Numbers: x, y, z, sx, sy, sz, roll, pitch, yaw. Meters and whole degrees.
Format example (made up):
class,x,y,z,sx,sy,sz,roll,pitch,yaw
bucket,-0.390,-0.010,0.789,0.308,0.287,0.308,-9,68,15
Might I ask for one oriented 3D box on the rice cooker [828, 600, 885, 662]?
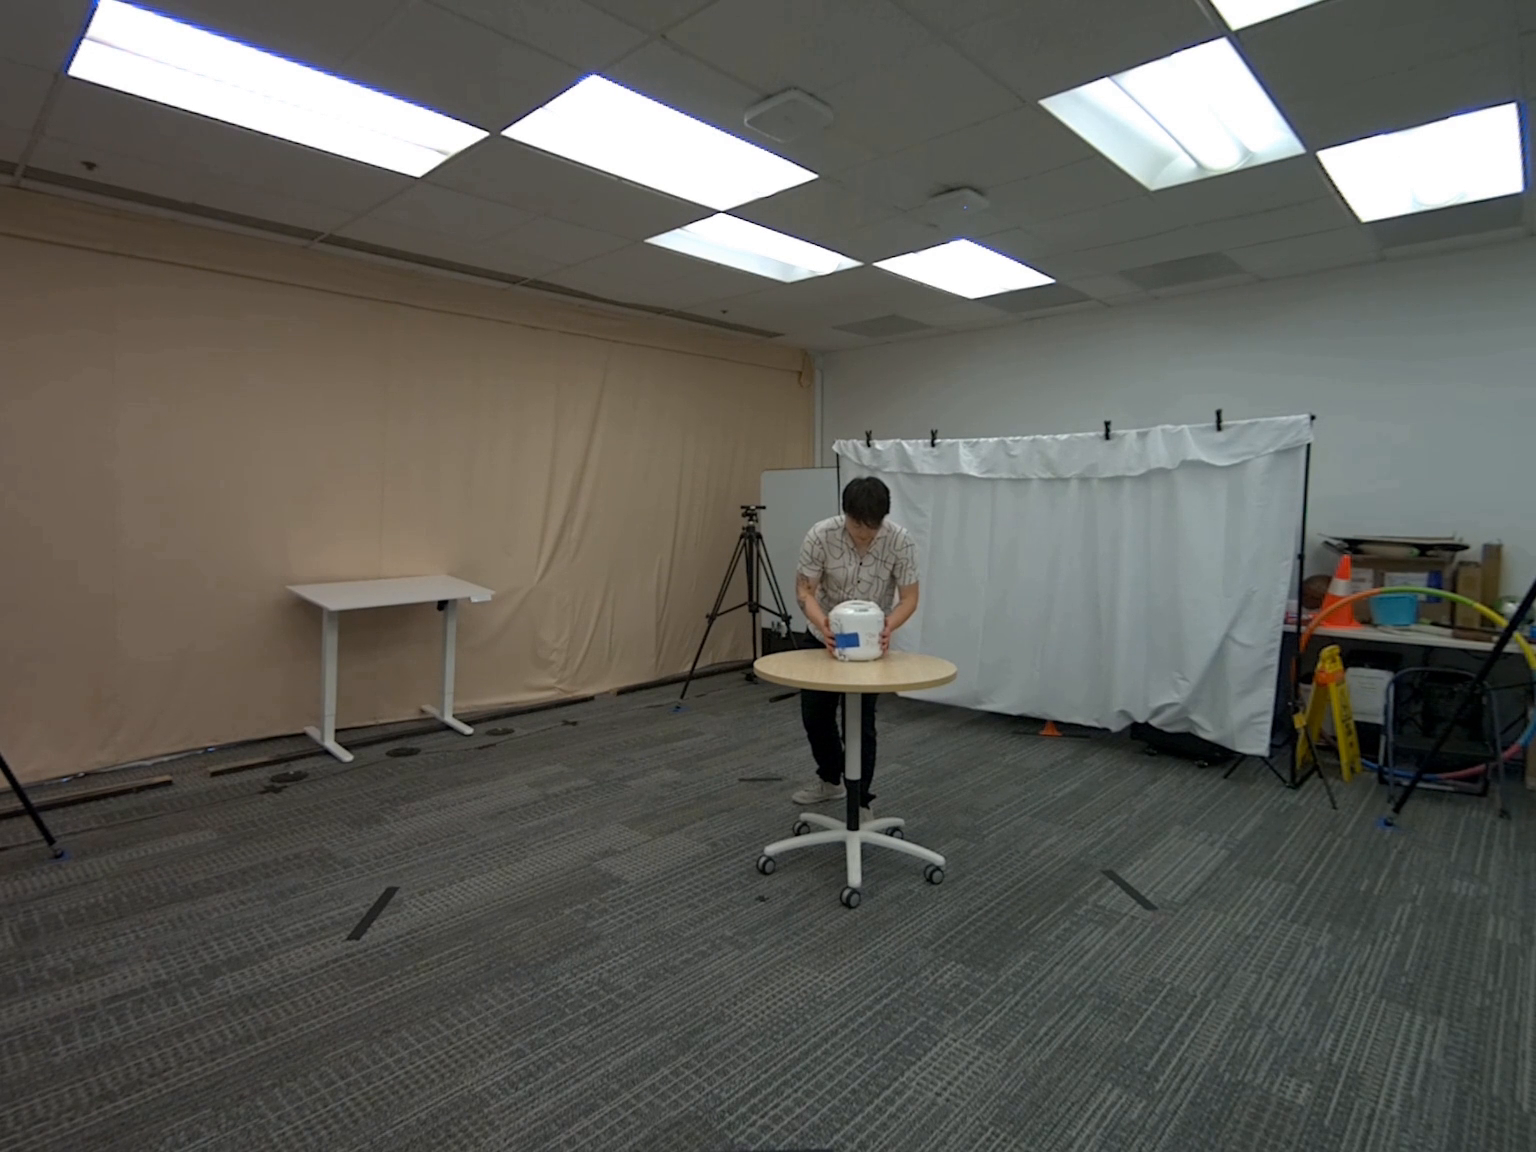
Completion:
class,x,y,z,sx,sy,sz,roll,pitch,yaw
rice cooker,0.352,0.212,3.371,0.221,0.232,0.217,1,4,1
